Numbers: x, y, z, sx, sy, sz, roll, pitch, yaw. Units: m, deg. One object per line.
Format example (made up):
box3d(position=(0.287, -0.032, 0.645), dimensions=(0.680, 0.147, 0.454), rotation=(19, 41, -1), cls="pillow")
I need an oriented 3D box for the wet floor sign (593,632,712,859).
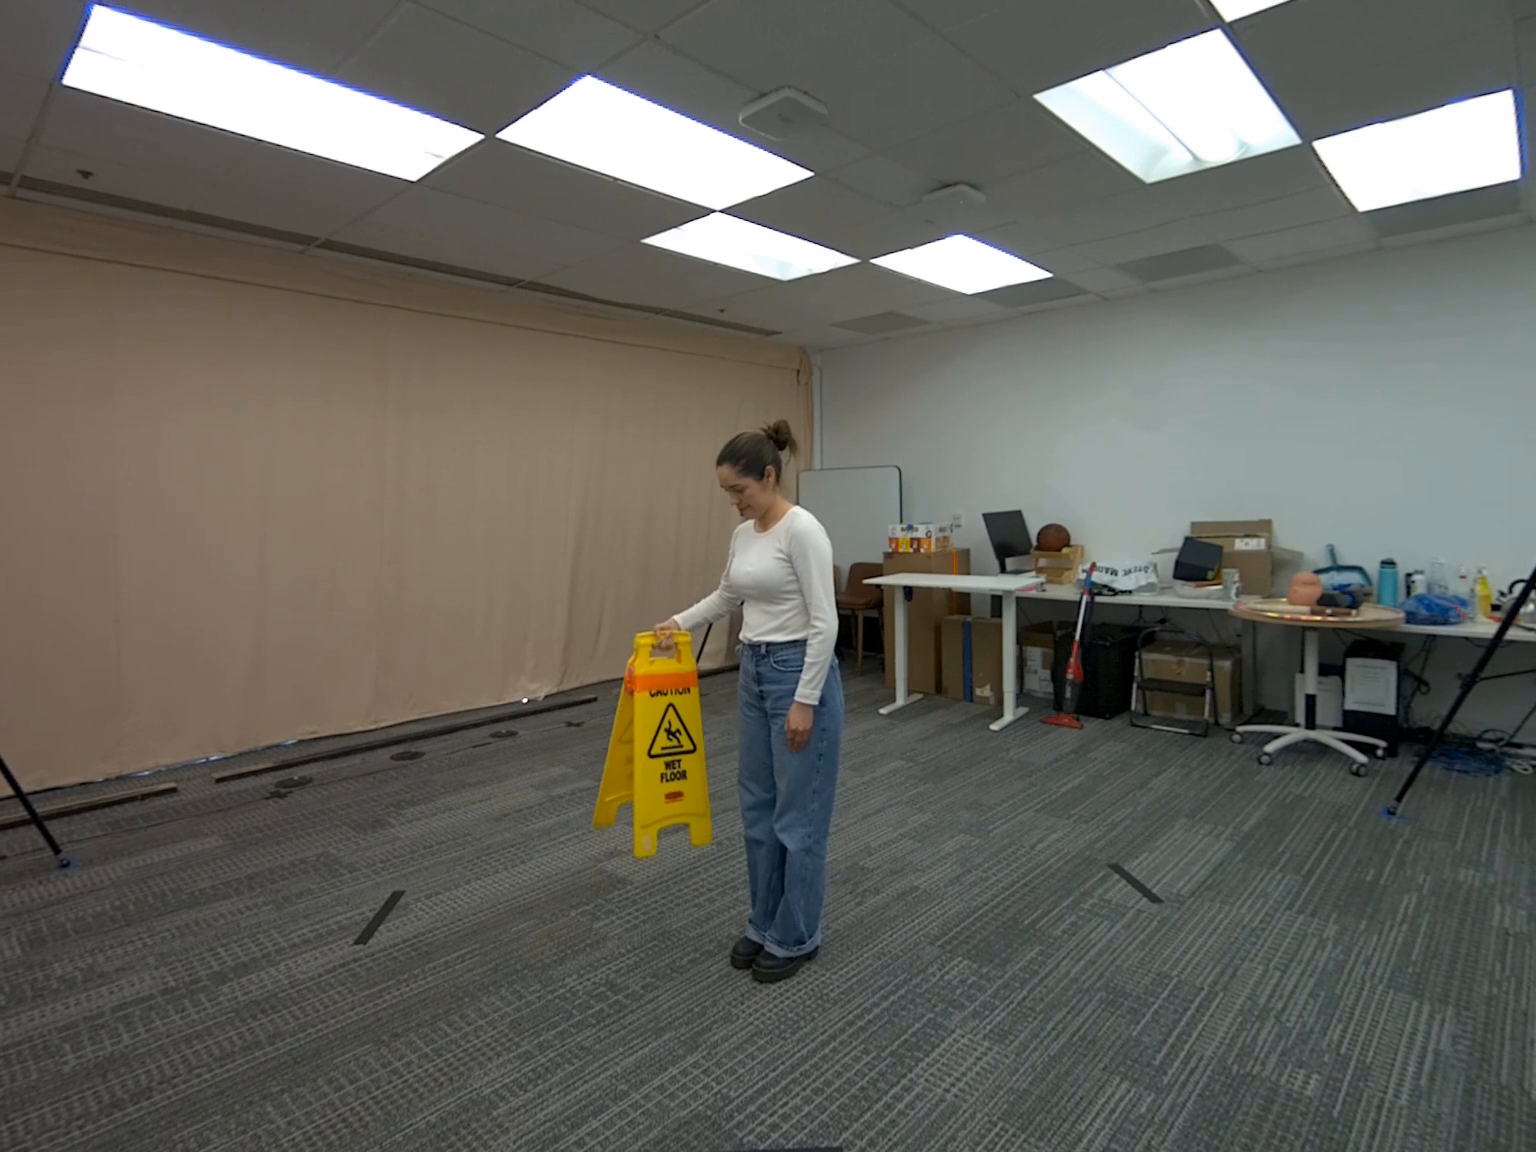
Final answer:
box3d(position=(-0.348, 0.504, 2.658), dimensions=(0.273, 0.645, 0.299), rotation=(2, 3, -37), cls="wet floor sign")
